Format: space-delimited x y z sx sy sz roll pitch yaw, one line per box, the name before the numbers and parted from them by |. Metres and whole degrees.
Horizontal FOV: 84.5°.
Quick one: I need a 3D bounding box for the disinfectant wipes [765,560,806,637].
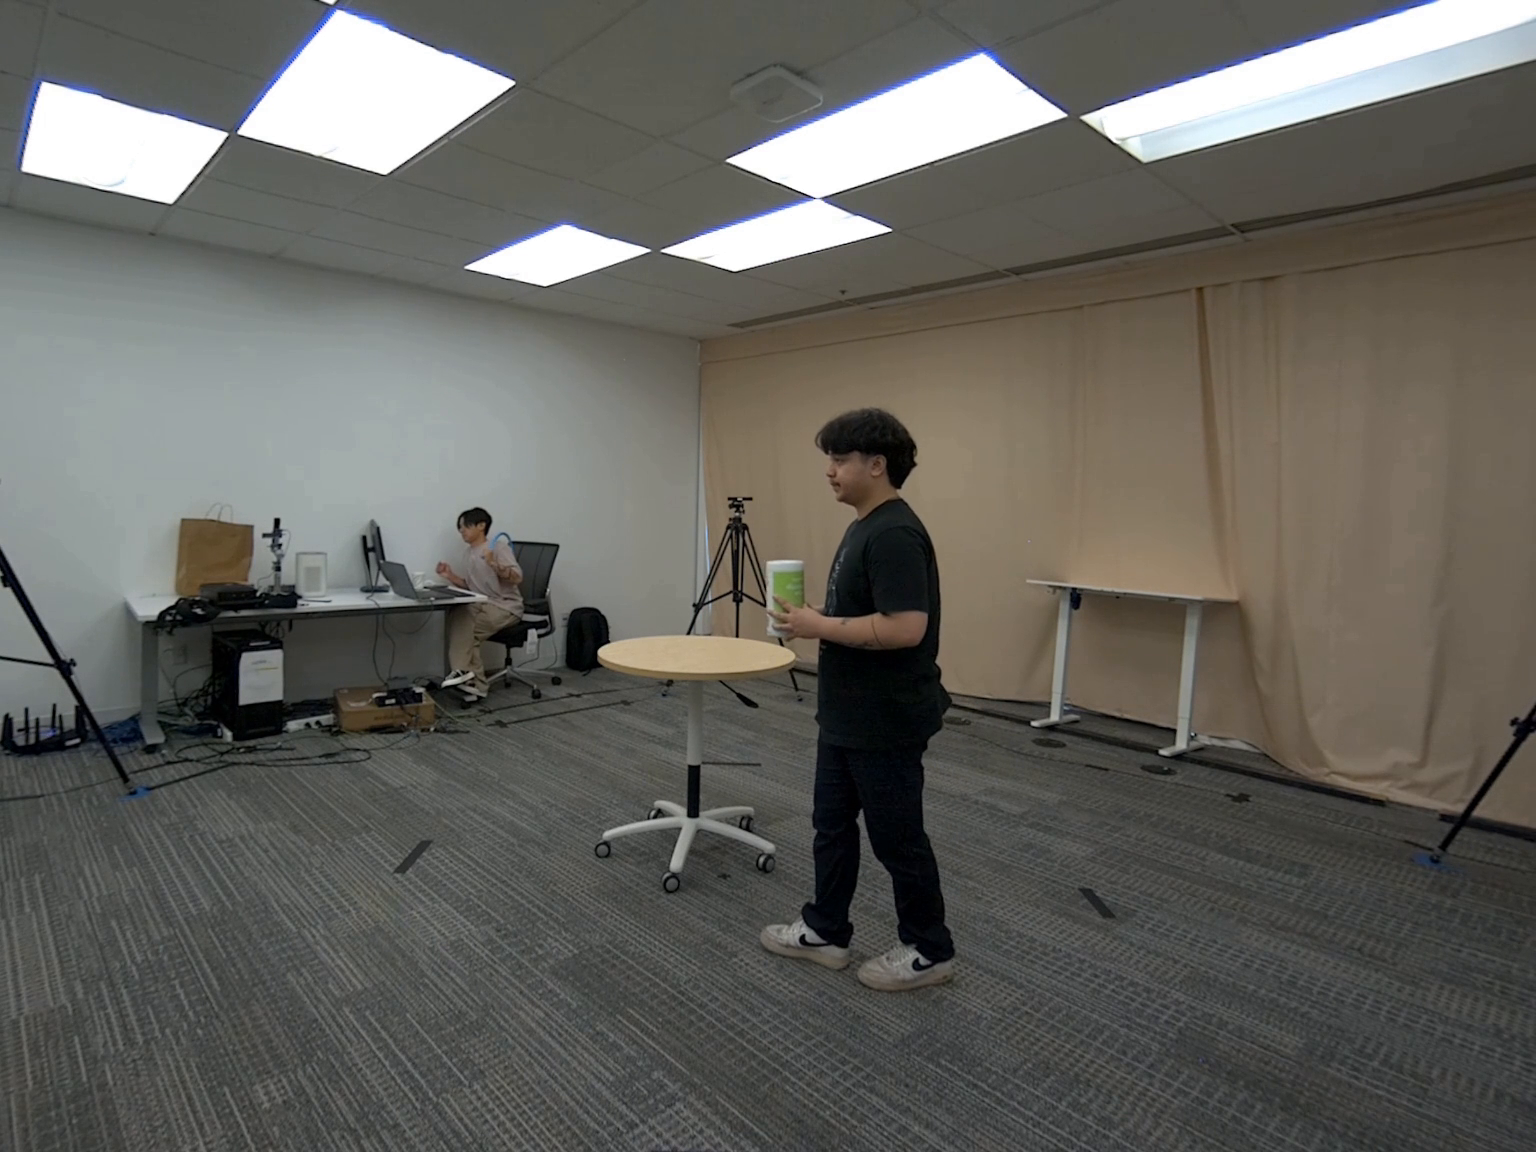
disinfectant wipes | 0.051 0.064 2.413 0.118 0.217 0.118 0 3 -1
